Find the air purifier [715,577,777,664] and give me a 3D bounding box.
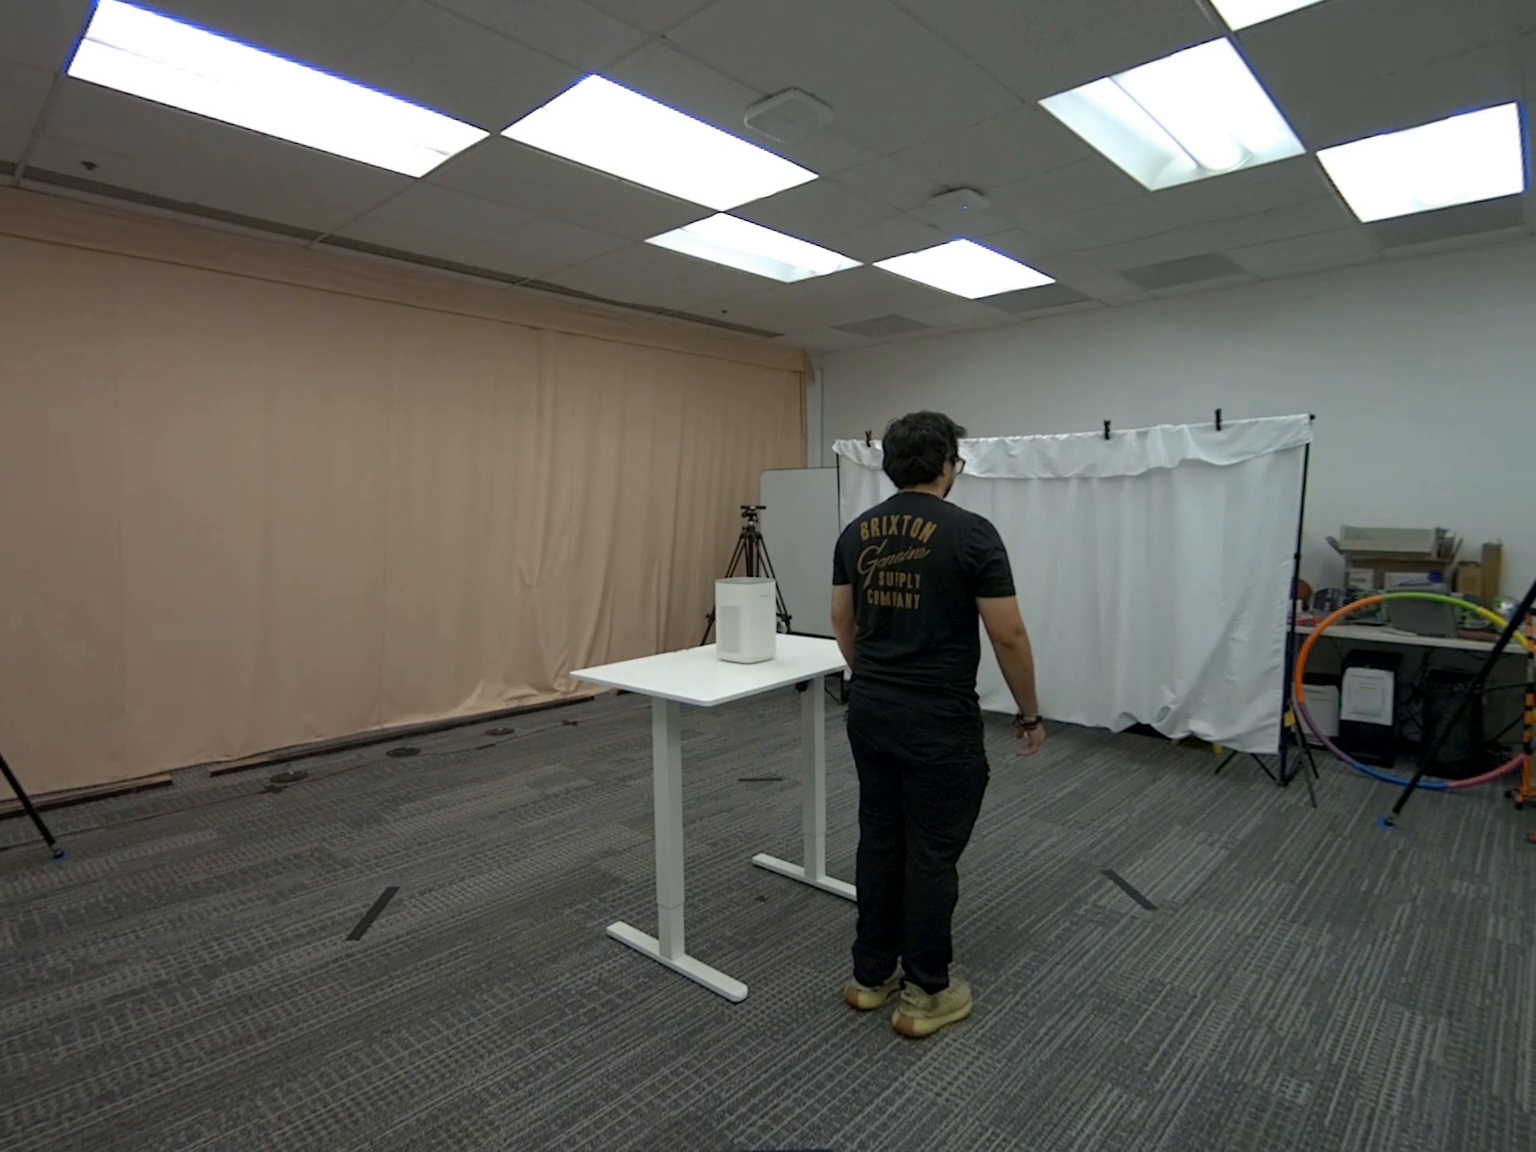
[{"bbox_3d":[-0.068,0.147,2.781,0.177,0.265,0.166,2,3,42],"label":"air purifier"}]
